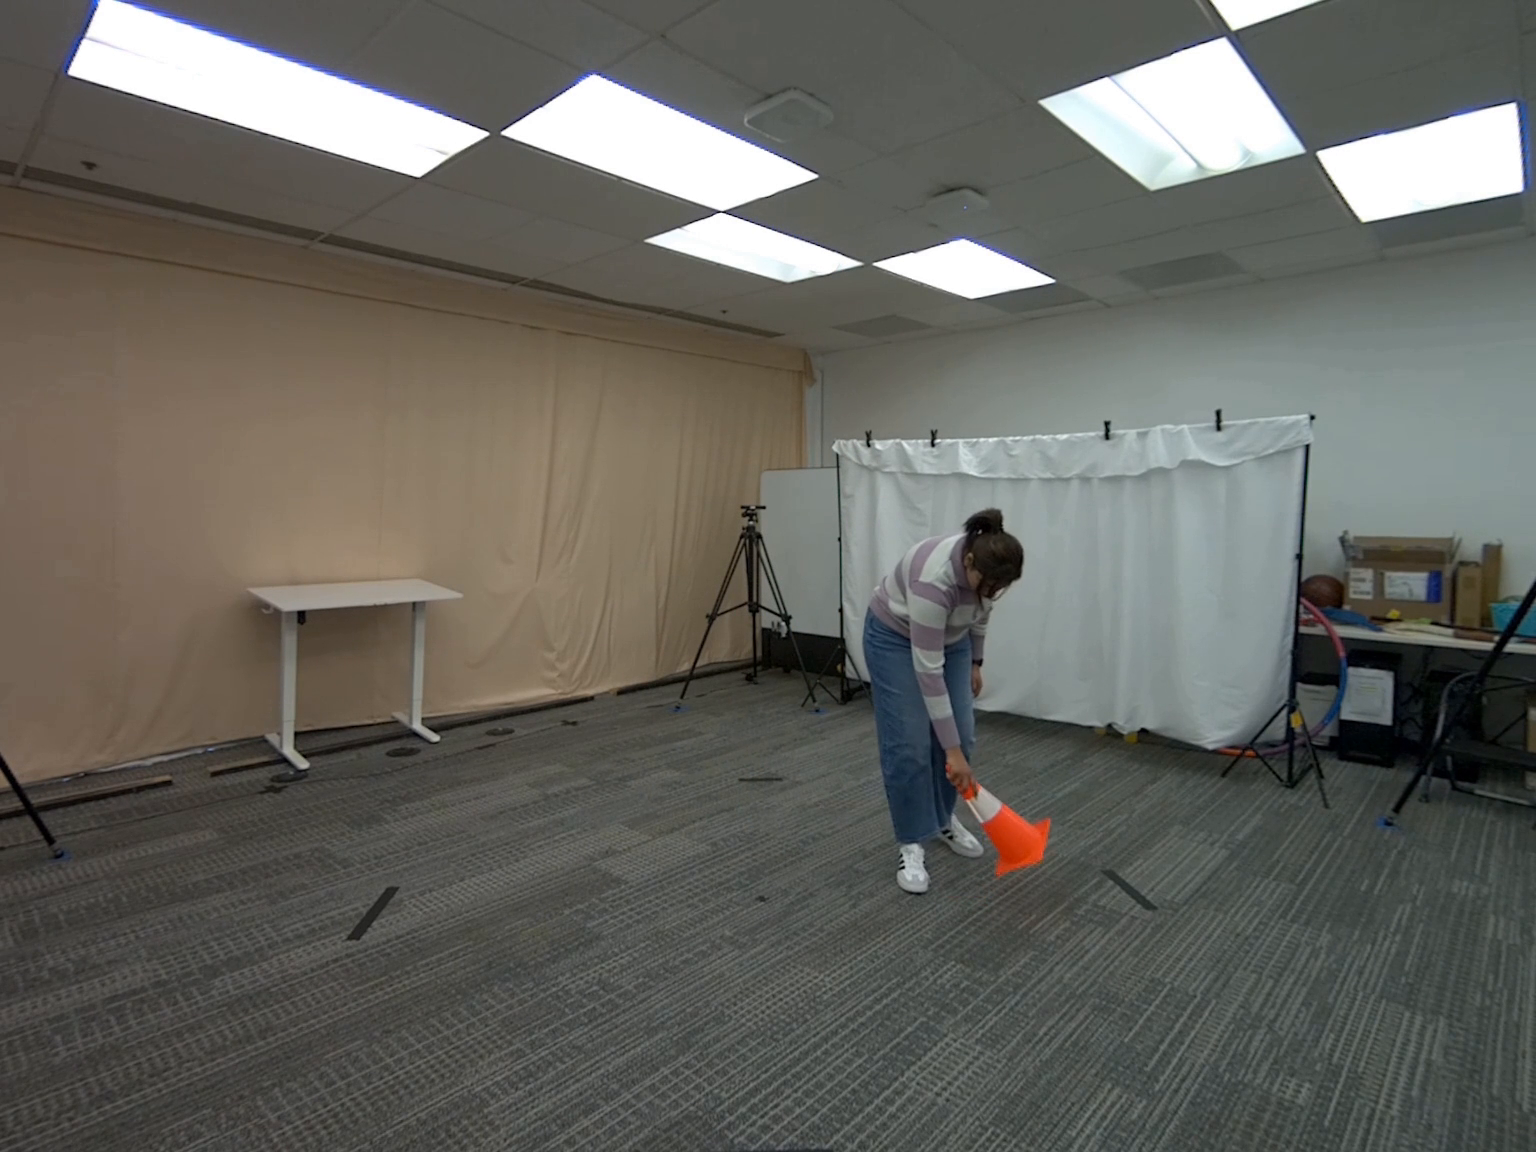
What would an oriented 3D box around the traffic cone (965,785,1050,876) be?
[{"bbox_3d":[0.752,0.797,2.901,0.207,0.385,0.201,-44,-3,35],"label":"traffic cone"}]
